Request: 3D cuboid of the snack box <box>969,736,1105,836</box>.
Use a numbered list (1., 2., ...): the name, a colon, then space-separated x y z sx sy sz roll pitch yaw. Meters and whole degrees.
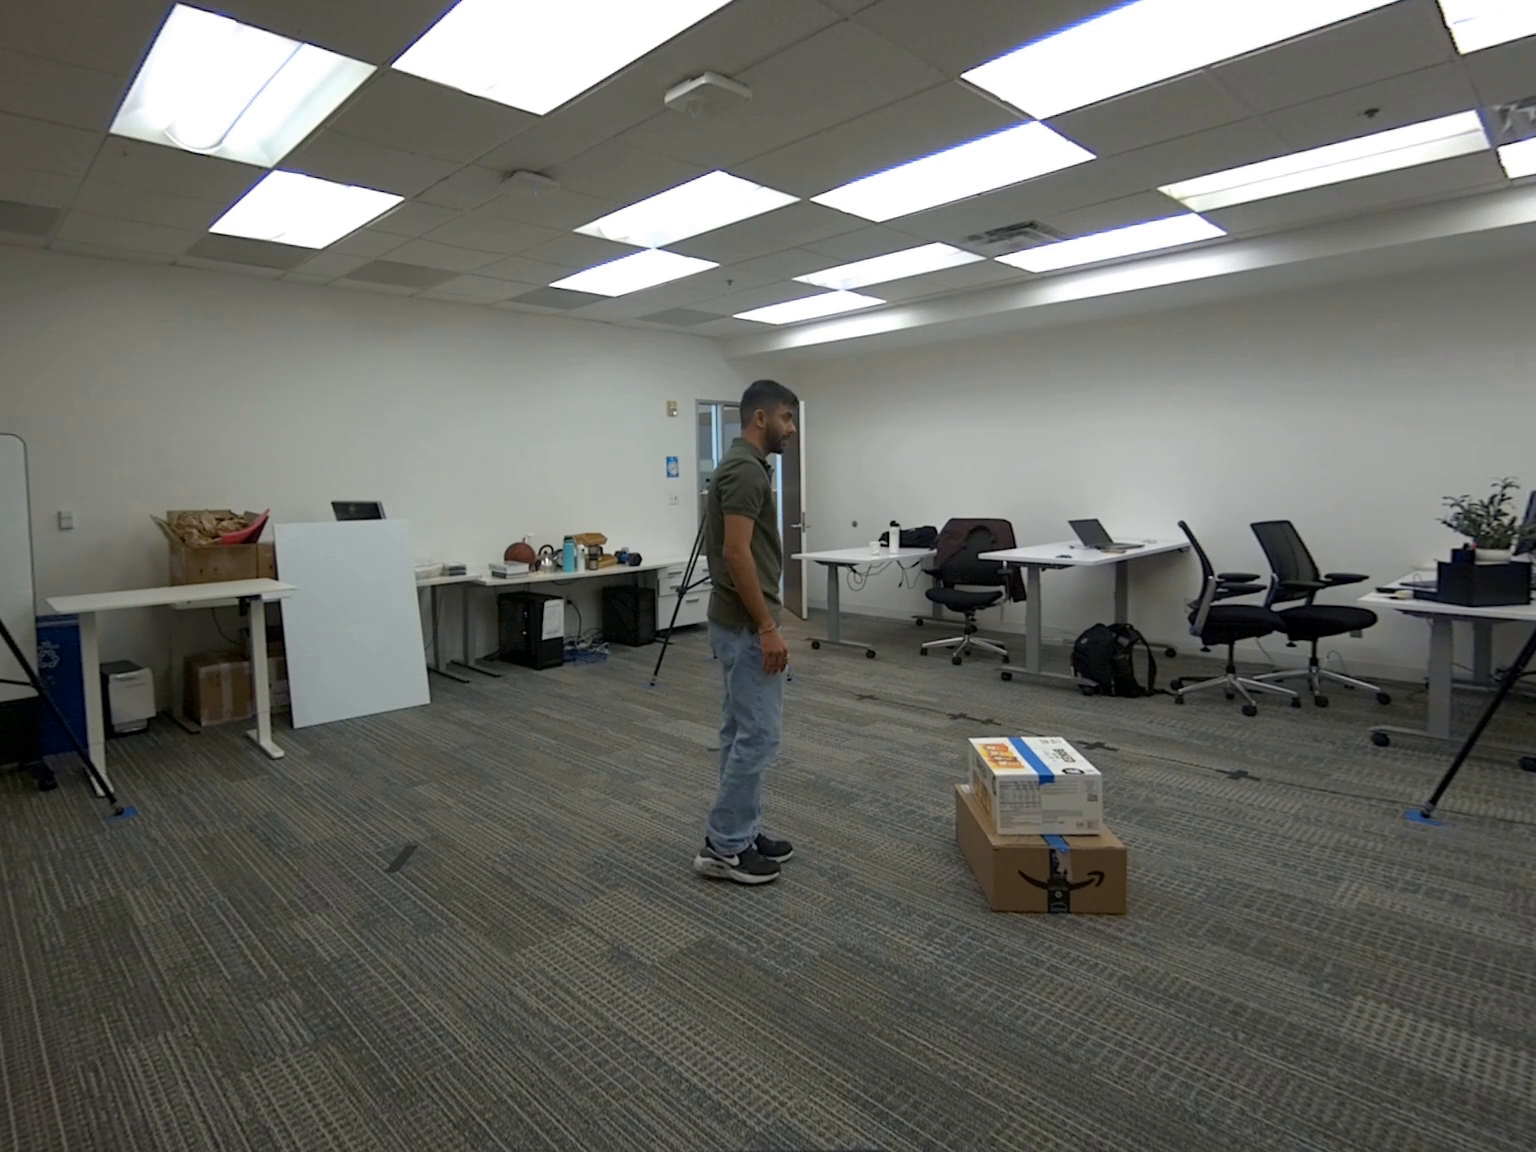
1. snack box: 0.914 0.720 2.979 0.341 0.205 0.406 -2 6 2
